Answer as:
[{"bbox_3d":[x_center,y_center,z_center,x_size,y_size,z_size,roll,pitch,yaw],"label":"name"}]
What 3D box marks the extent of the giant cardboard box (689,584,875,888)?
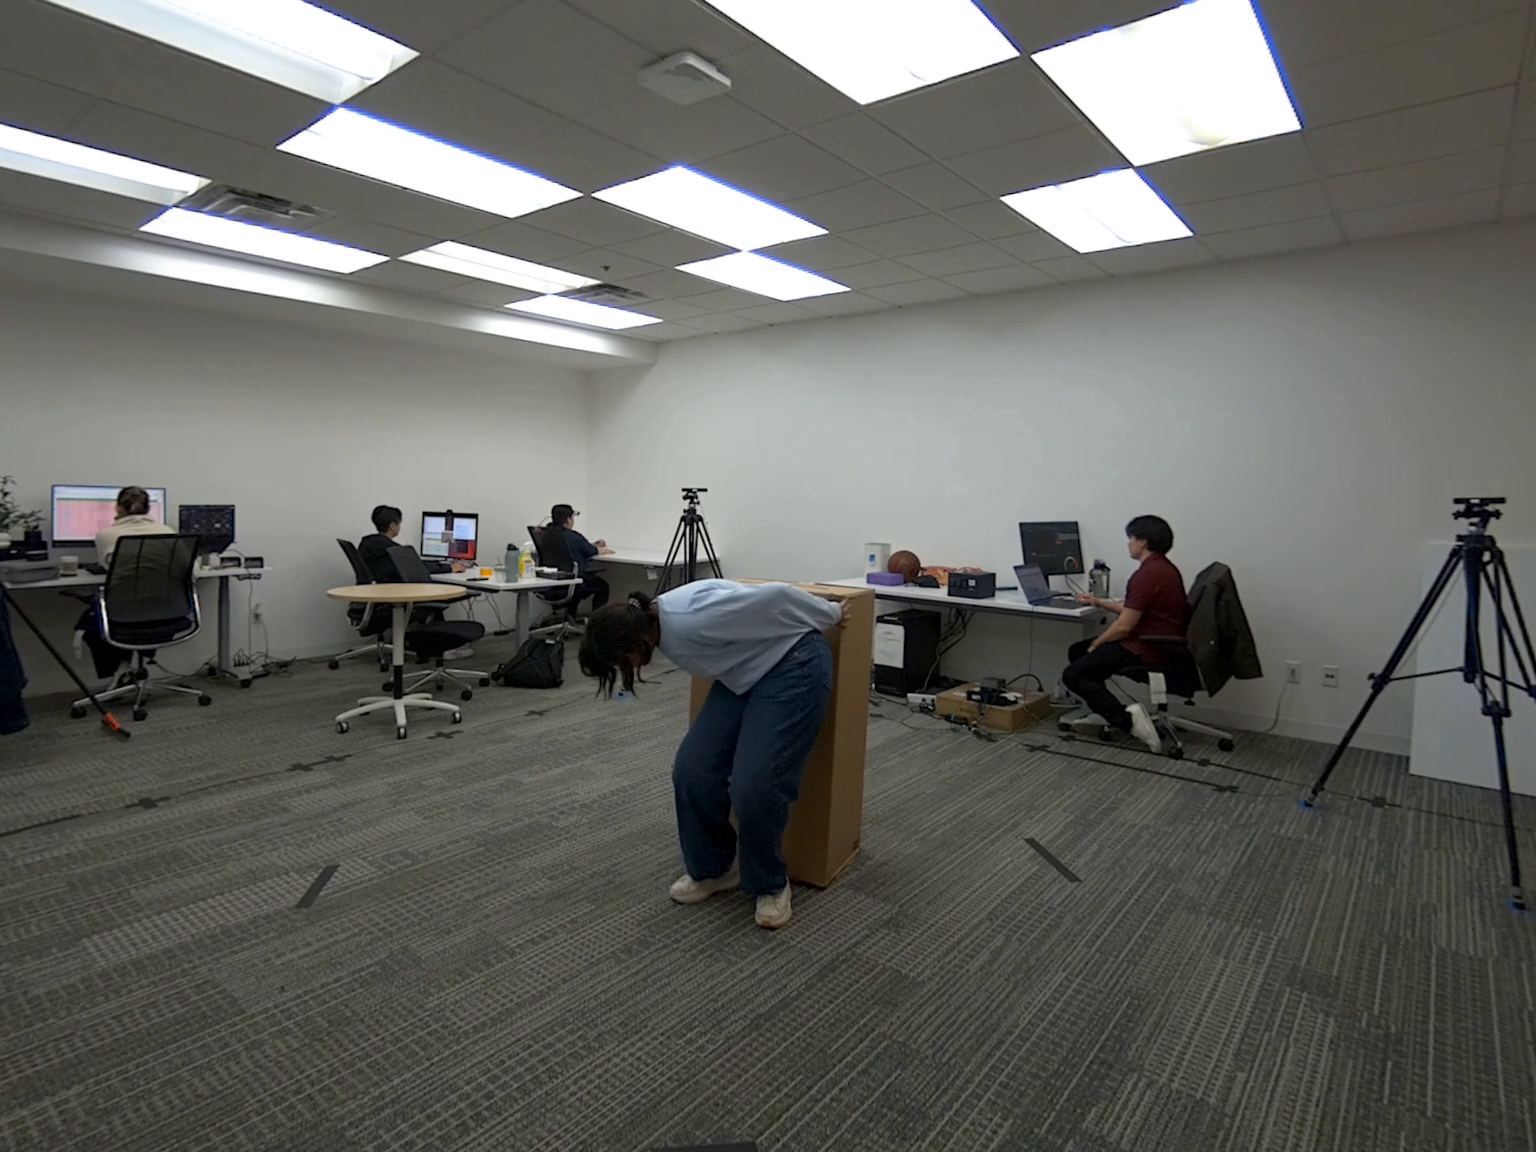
[{"bbox_3d":[0.044,0.544,3.260,0.593,1.025,0.415,4,1,25],"label":"giant cardboard box"}]
